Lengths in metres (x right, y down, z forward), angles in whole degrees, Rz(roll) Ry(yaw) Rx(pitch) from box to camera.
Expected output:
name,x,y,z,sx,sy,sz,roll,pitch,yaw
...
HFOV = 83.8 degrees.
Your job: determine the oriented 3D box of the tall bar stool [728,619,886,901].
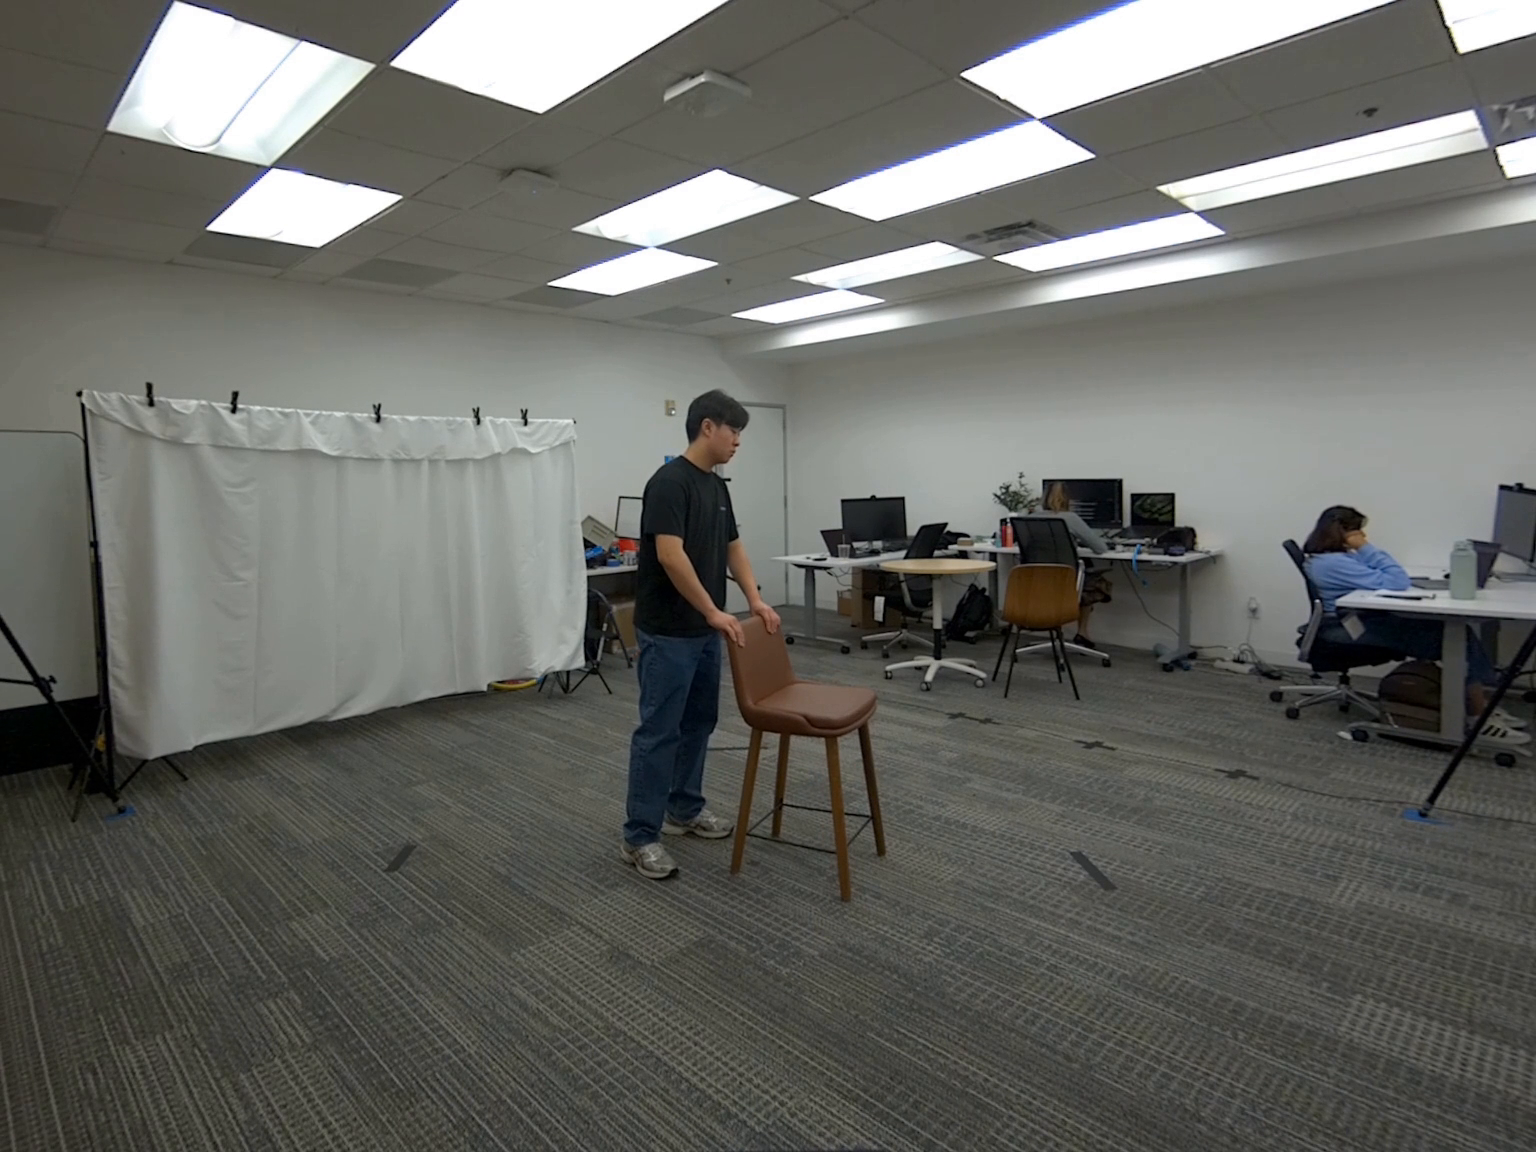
name,x,y,z,sx,sy,sz,roll,pitch,yaw
tall bar stool,0.137,0.604,3.065,0.479,0.888,0.447,-1,3,28
